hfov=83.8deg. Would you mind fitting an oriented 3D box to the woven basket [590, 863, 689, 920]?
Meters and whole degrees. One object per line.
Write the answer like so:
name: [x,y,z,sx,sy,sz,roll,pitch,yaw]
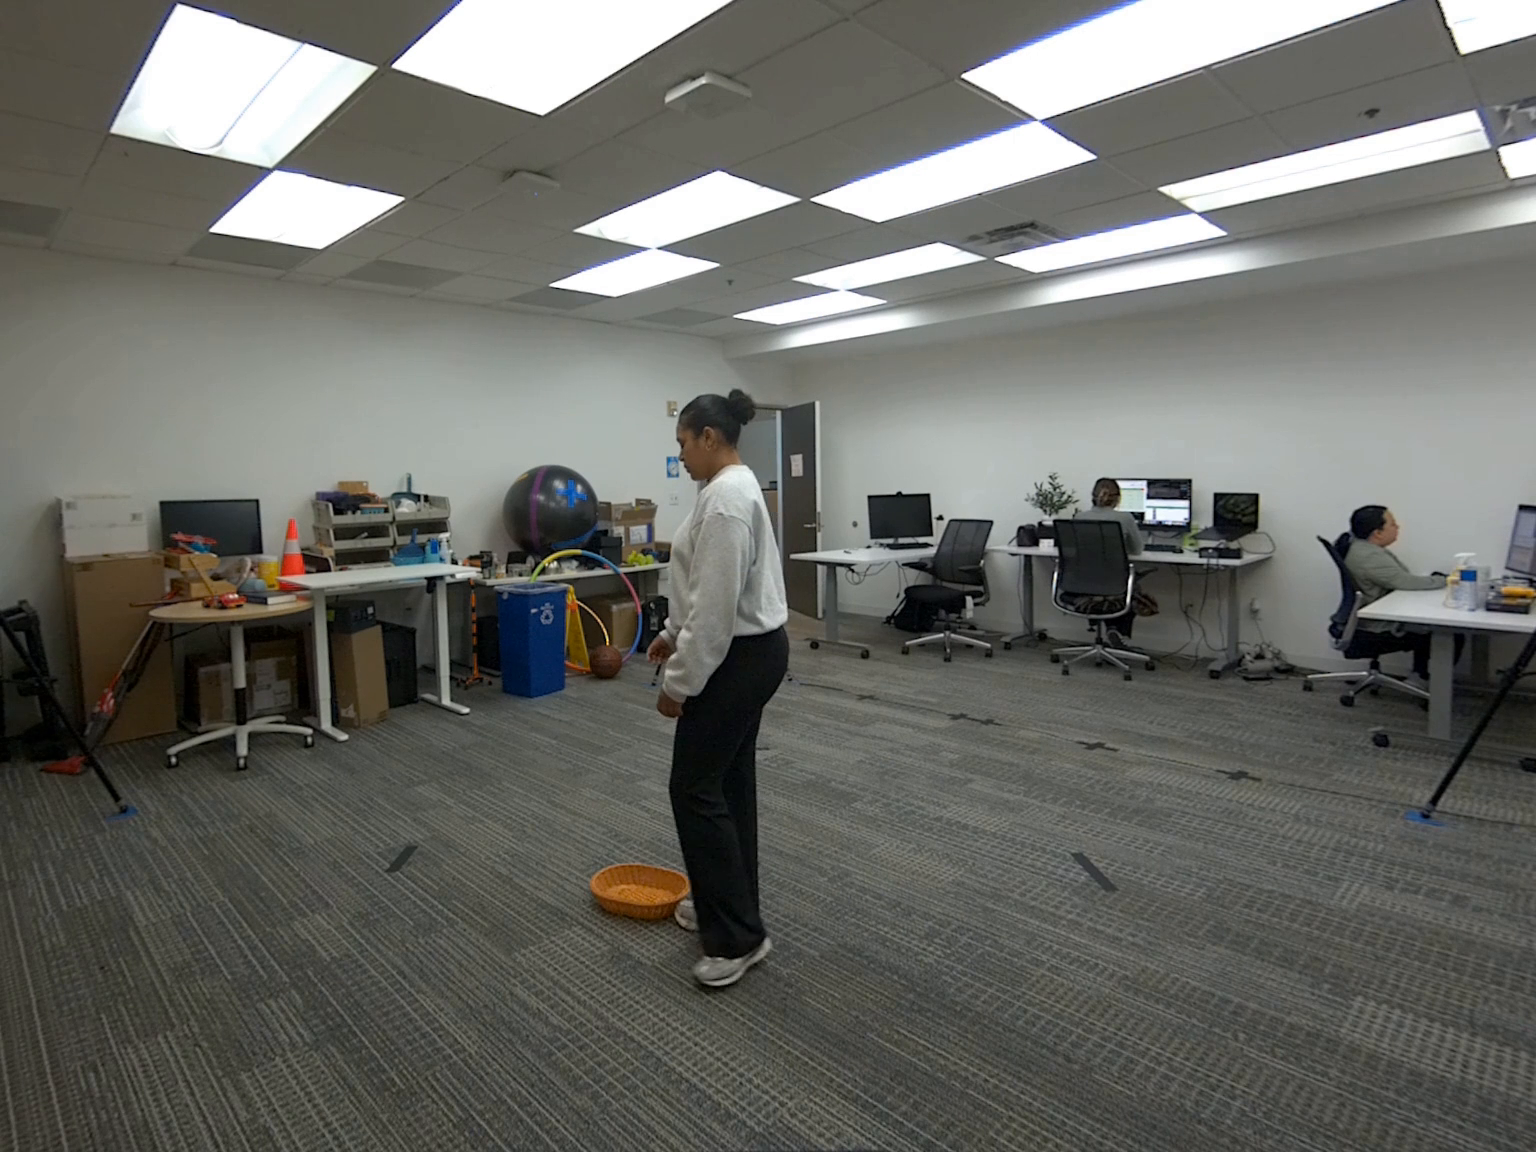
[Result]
woven basket: [-0.420,1.046,2.829,0.358,0.073,0.248,2,8,24]
